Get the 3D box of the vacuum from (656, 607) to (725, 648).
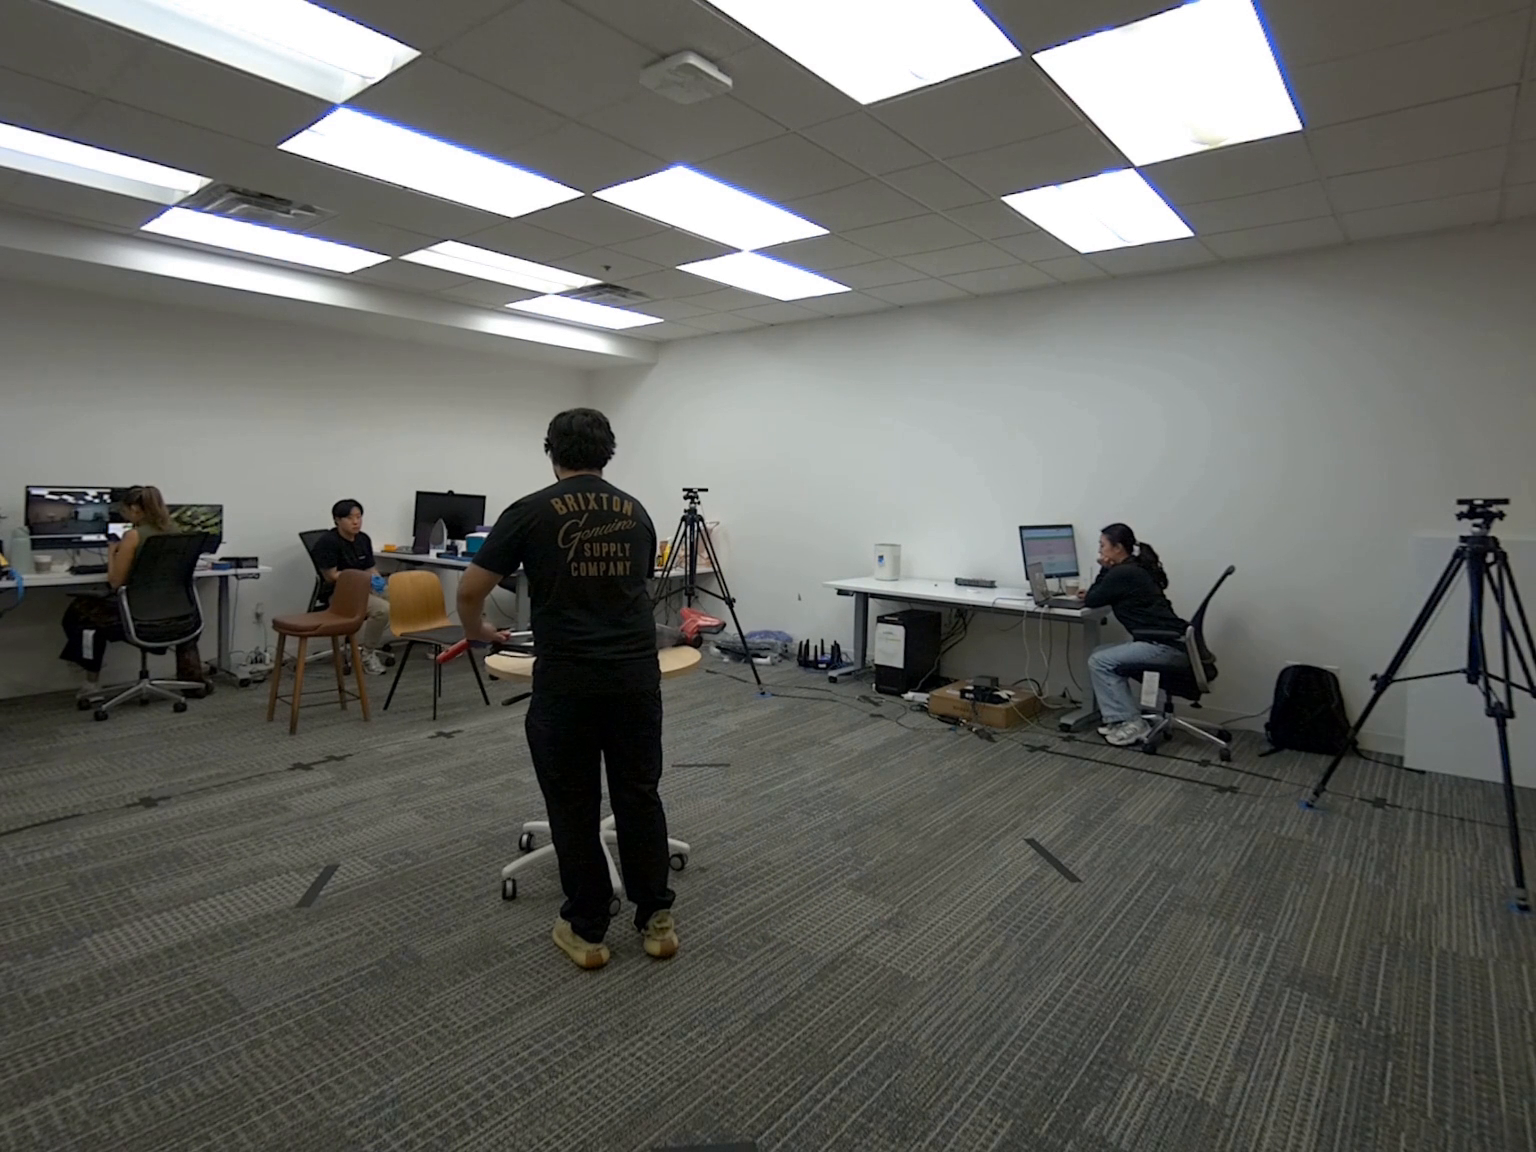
[{"bbox_3d":[-0.655,0.232,2.967,1.017,0.143,0.261,-3,8,-44],"label":"vacuum"}]
